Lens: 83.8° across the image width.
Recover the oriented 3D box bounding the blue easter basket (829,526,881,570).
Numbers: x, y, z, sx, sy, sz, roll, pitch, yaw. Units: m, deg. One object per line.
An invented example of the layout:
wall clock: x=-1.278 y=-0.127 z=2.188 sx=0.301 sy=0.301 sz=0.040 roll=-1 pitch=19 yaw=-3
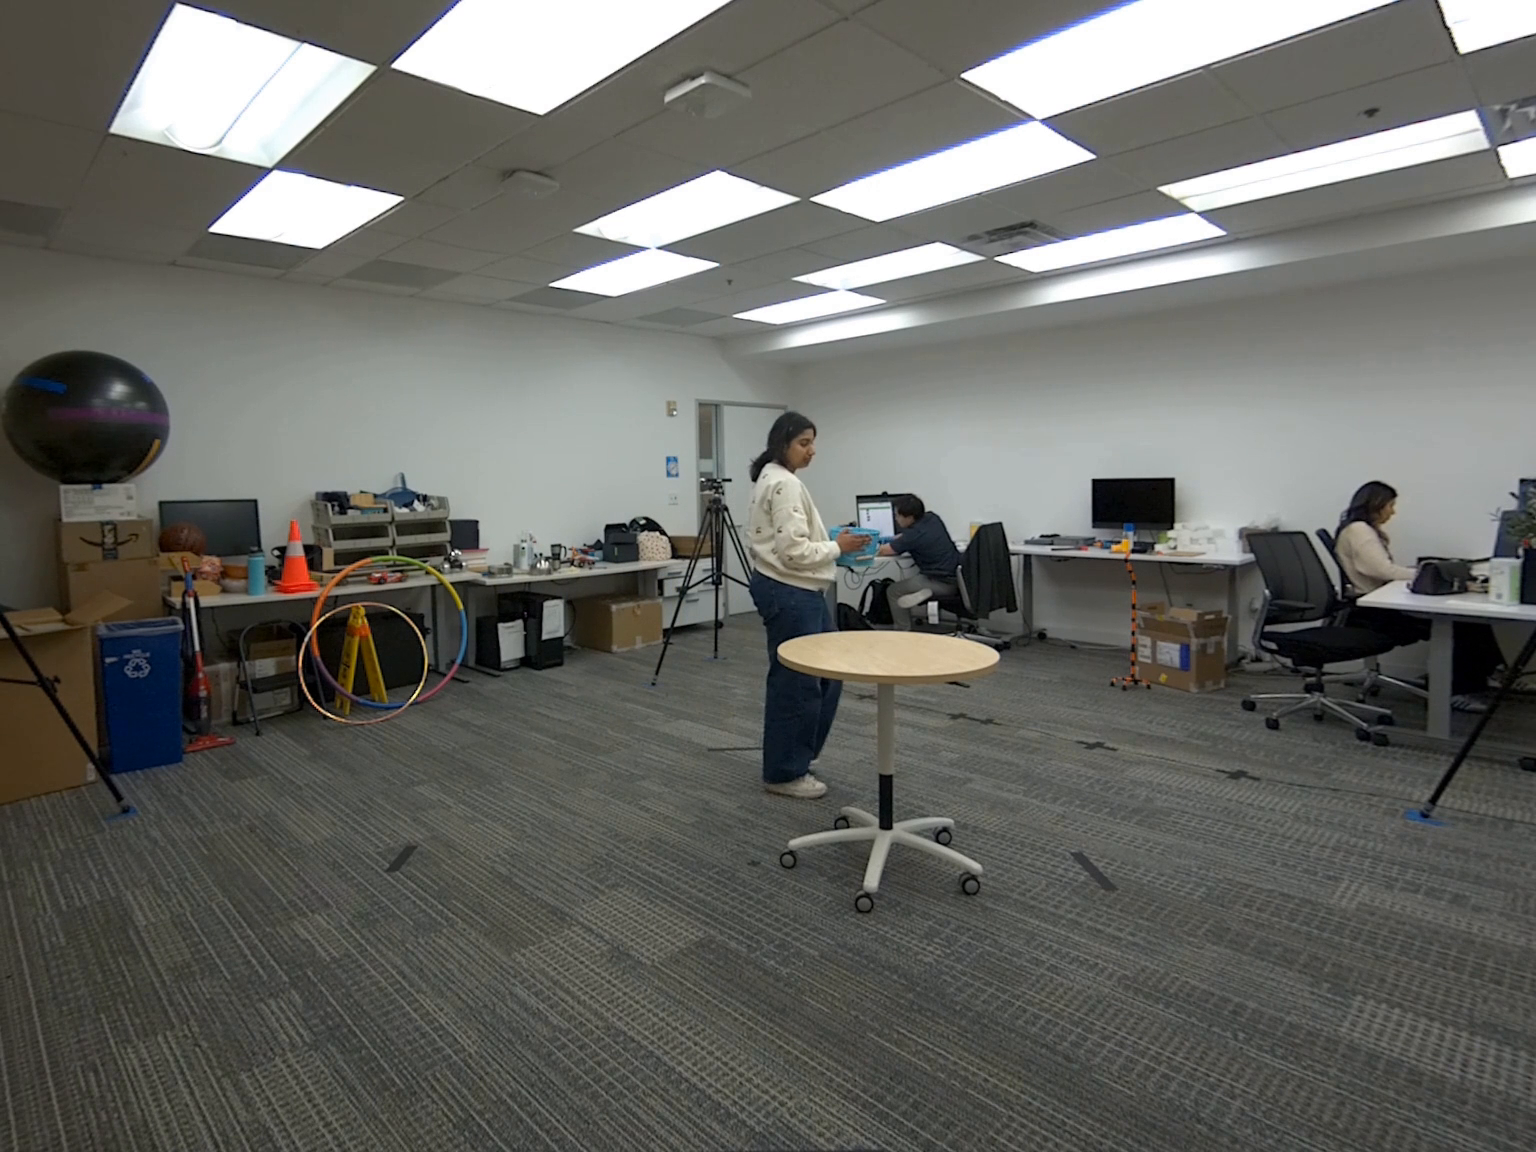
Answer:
blue easter basket: x=0.373 y=-0.132 z=3.804 sx=0.243 sy=0.155 sz=0.245 roll=0 pitch=5 yaw=-2
